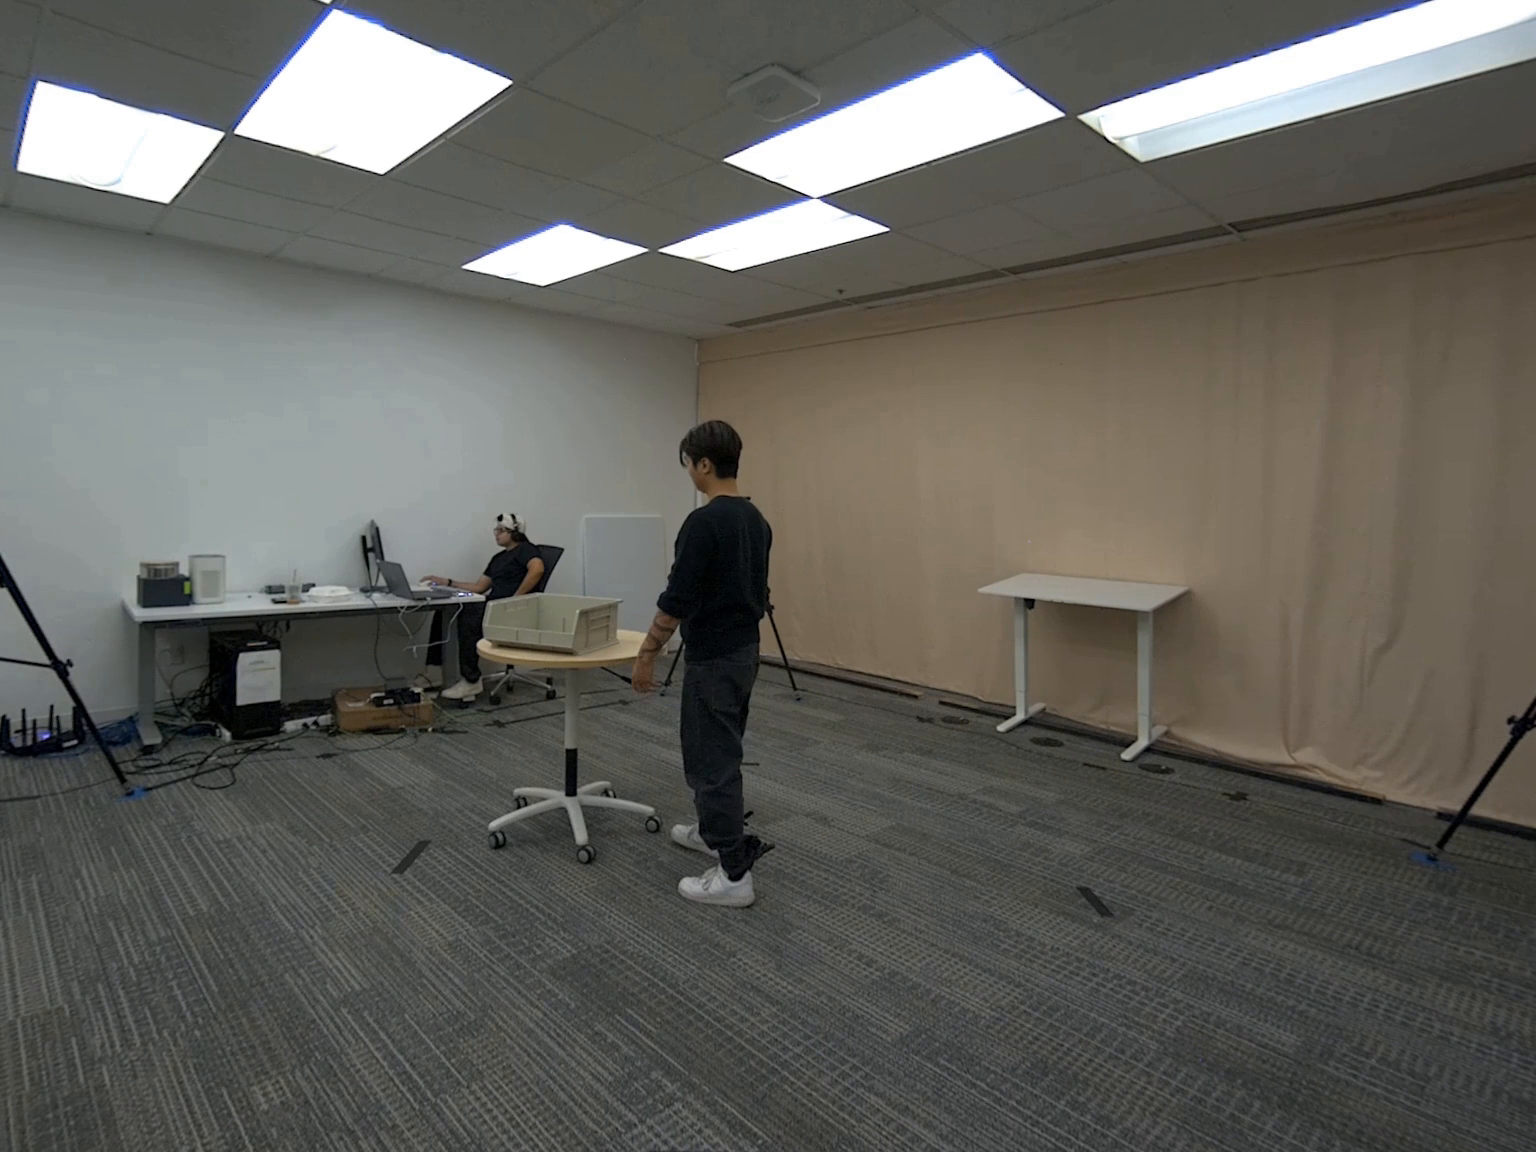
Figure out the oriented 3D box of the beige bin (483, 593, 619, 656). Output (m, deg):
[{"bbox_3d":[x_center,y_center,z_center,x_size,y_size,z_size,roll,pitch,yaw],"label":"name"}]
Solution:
[{"bbox_3d":[-0.868,0.190,3.405,0.429,0.188,0.372,3,4,19],"label":"beige bin"}]
